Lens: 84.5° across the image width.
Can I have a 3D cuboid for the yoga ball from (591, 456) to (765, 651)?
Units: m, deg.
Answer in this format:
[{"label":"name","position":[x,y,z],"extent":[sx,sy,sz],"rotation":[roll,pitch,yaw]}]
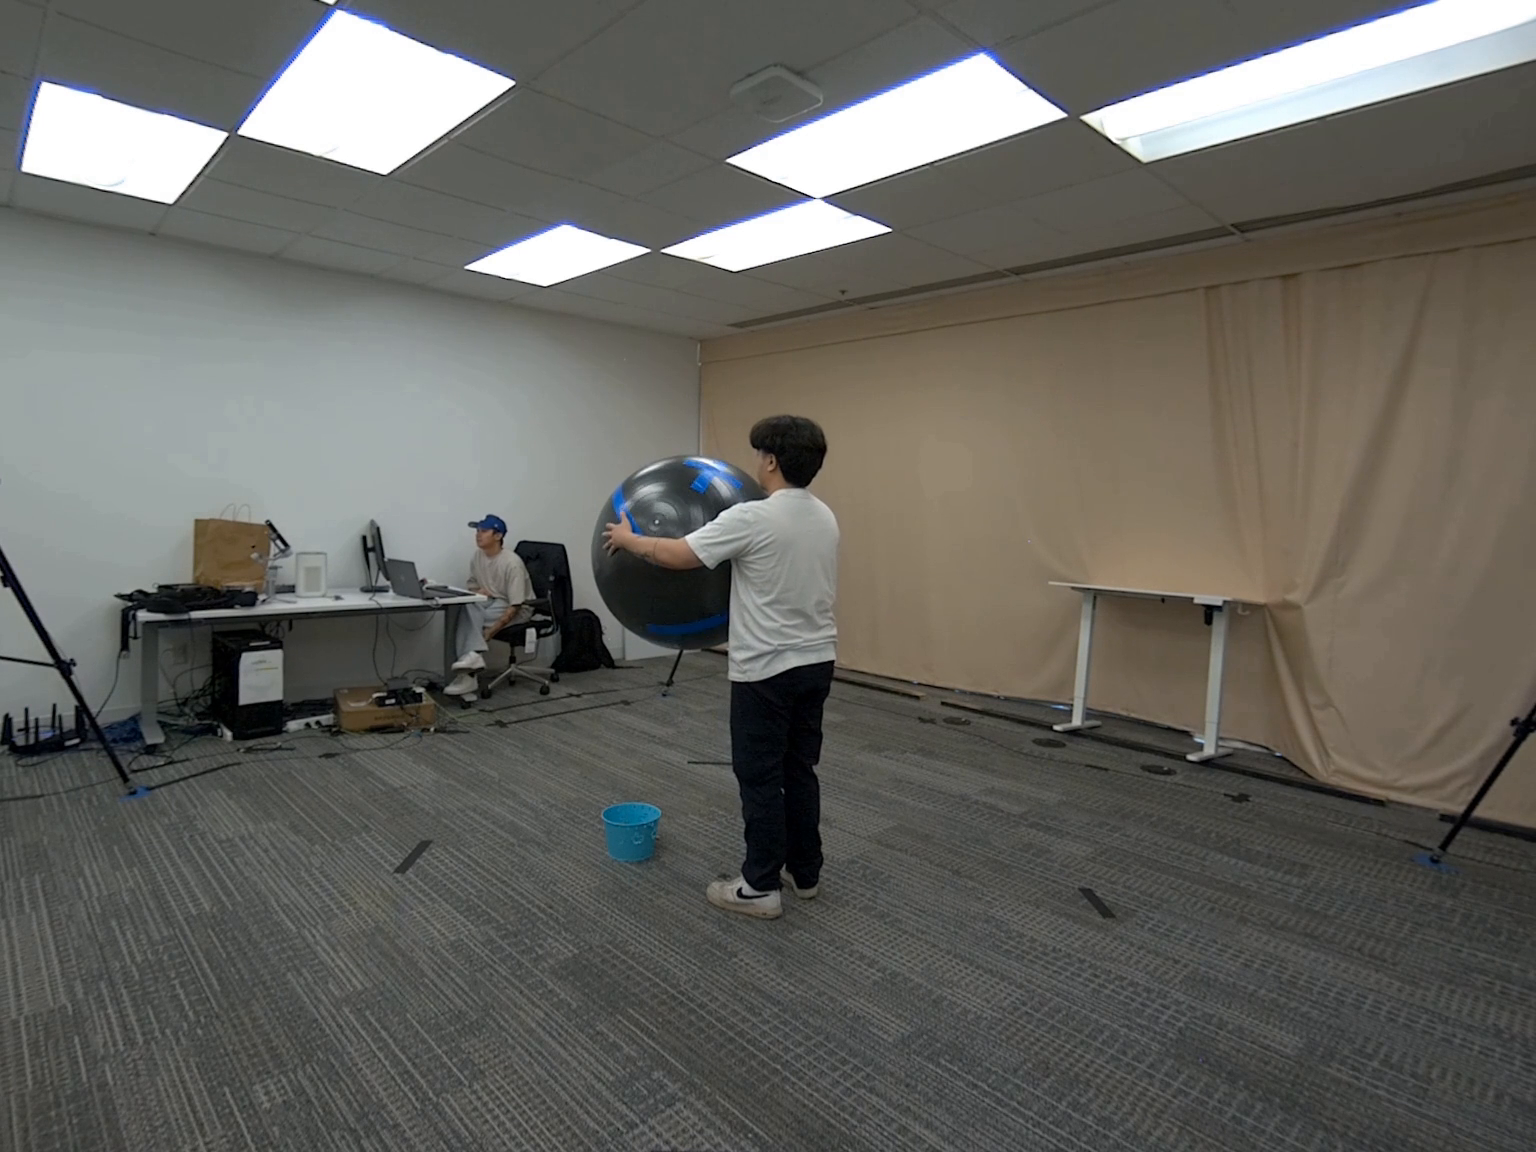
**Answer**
[{"label":"yoga ball","position":[-0.311,-0.086,3.292],"extent":[0.757,0.756,0.760],"rotation":[1,4,-1]}]
